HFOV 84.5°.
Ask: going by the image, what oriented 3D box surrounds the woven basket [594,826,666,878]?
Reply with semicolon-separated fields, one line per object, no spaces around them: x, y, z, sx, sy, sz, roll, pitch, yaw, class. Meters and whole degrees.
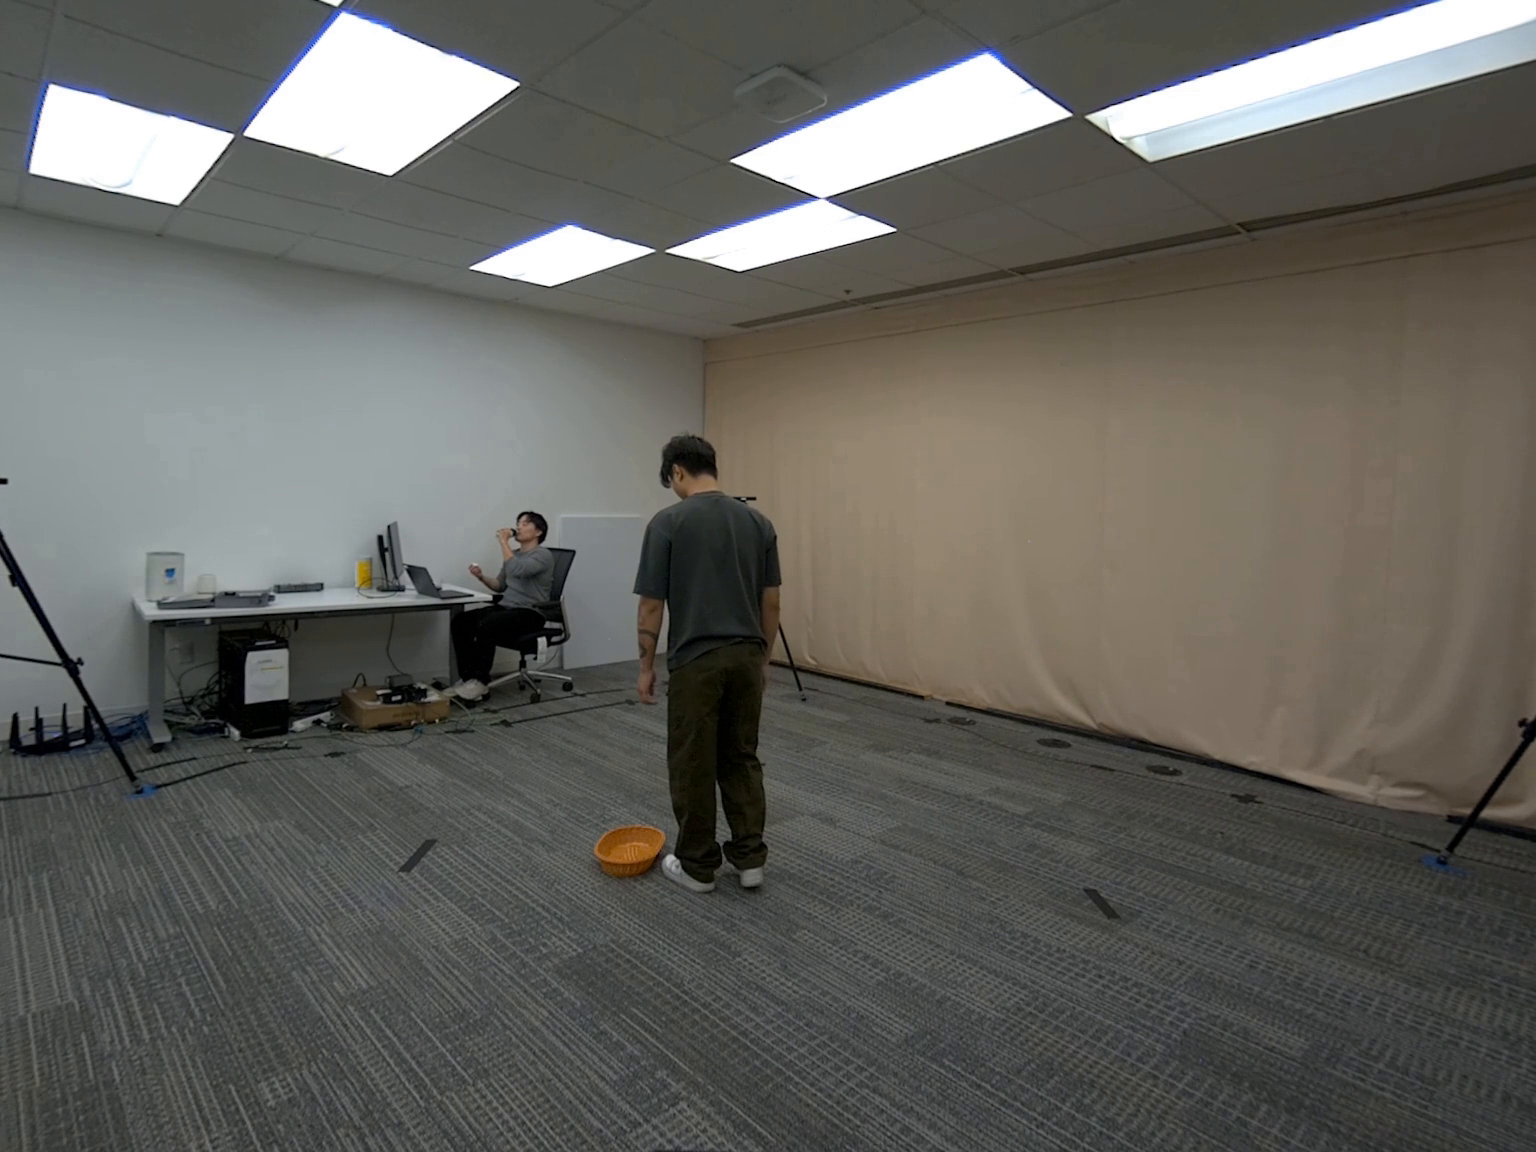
-0.536;1.048;3.215;0.254;0.073;0.349;2;5;8;woven basket
